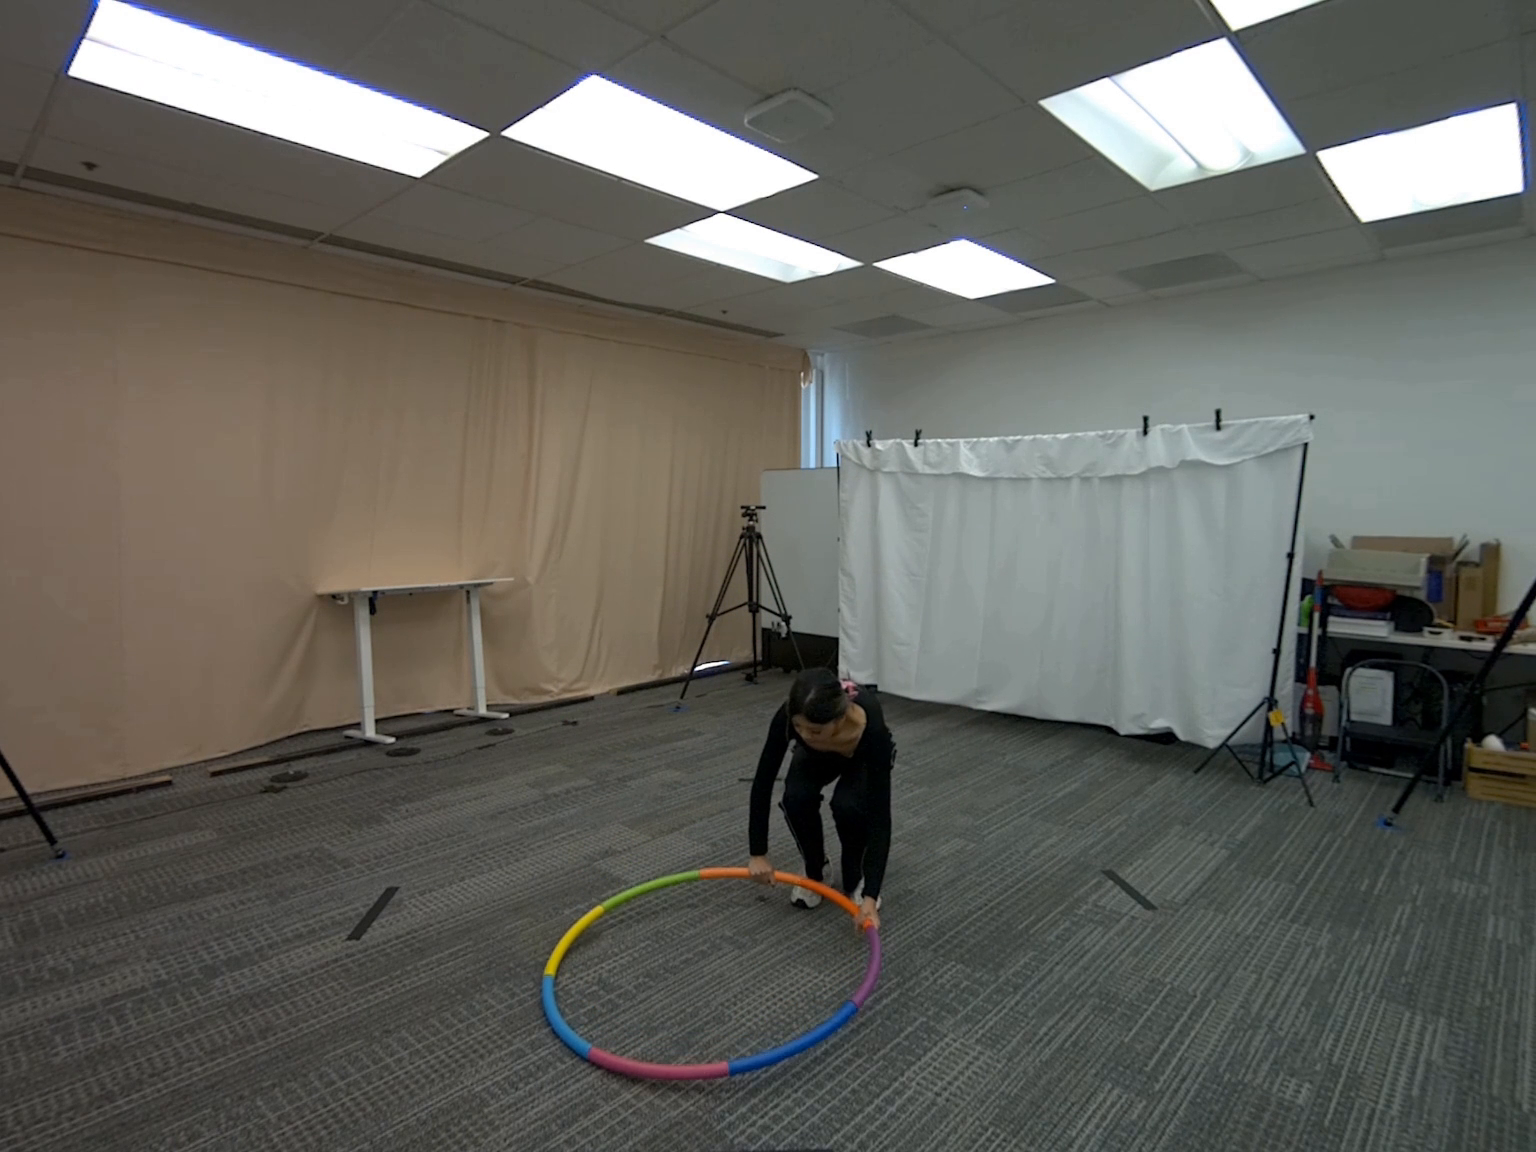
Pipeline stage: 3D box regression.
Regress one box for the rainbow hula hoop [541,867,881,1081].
[{"bbox_3d":[-0.162,1.107,2.480,0.978,0.035,0.984,-5,8,-1],"label":"rainbow hula hoop"}]
